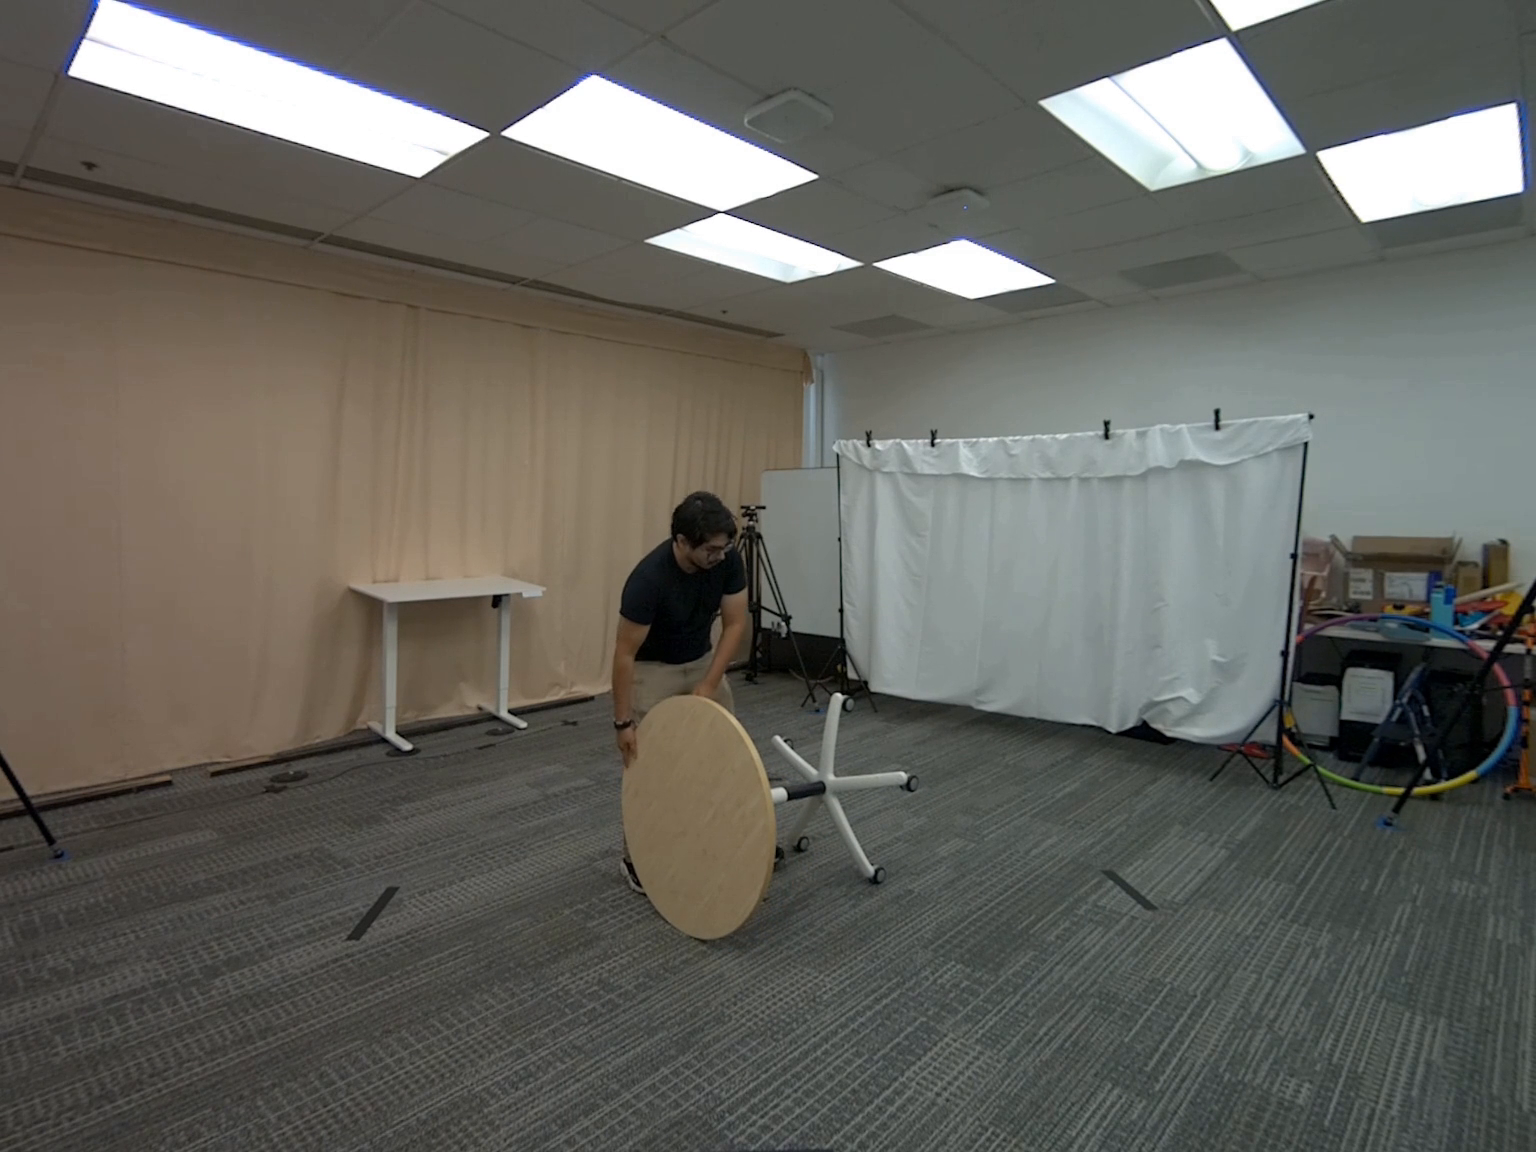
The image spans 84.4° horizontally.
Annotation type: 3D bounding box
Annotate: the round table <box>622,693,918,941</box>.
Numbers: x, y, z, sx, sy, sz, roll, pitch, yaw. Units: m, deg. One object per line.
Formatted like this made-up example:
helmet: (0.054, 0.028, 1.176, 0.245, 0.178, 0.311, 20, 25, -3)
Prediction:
round table: (0.029, 0.783, 3.015, 0.761, 0.785, 0.811, 2, 2, -43)
